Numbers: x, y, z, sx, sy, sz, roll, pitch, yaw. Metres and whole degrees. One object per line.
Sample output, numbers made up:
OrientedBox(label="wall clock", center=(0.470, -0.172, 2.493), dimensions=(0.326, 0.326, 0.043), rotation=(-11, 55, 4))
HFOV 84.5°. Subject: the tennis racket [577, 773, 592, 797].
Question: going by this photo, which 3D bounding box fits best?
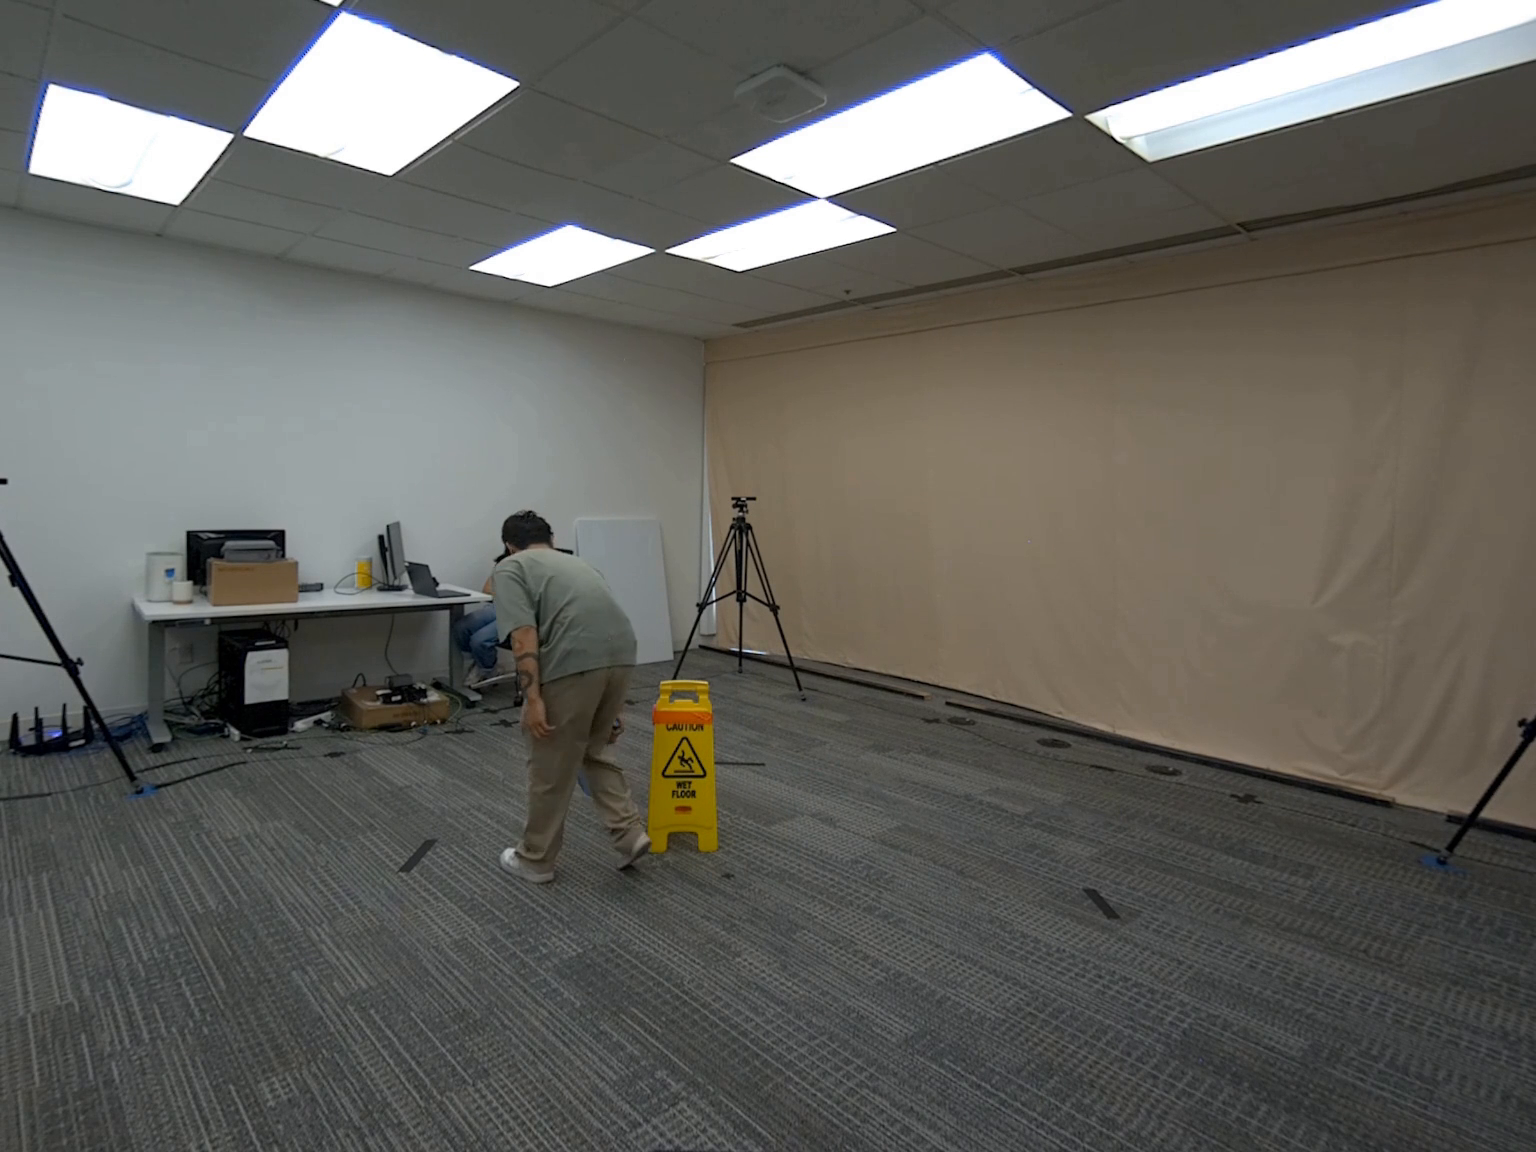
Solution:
OrientedBox(label="tennis racket", center=(-0.660, 0.733, 3.326), dimensions=(0.031, 0.429, 0.220), rotation=(-4, 45, -40))
